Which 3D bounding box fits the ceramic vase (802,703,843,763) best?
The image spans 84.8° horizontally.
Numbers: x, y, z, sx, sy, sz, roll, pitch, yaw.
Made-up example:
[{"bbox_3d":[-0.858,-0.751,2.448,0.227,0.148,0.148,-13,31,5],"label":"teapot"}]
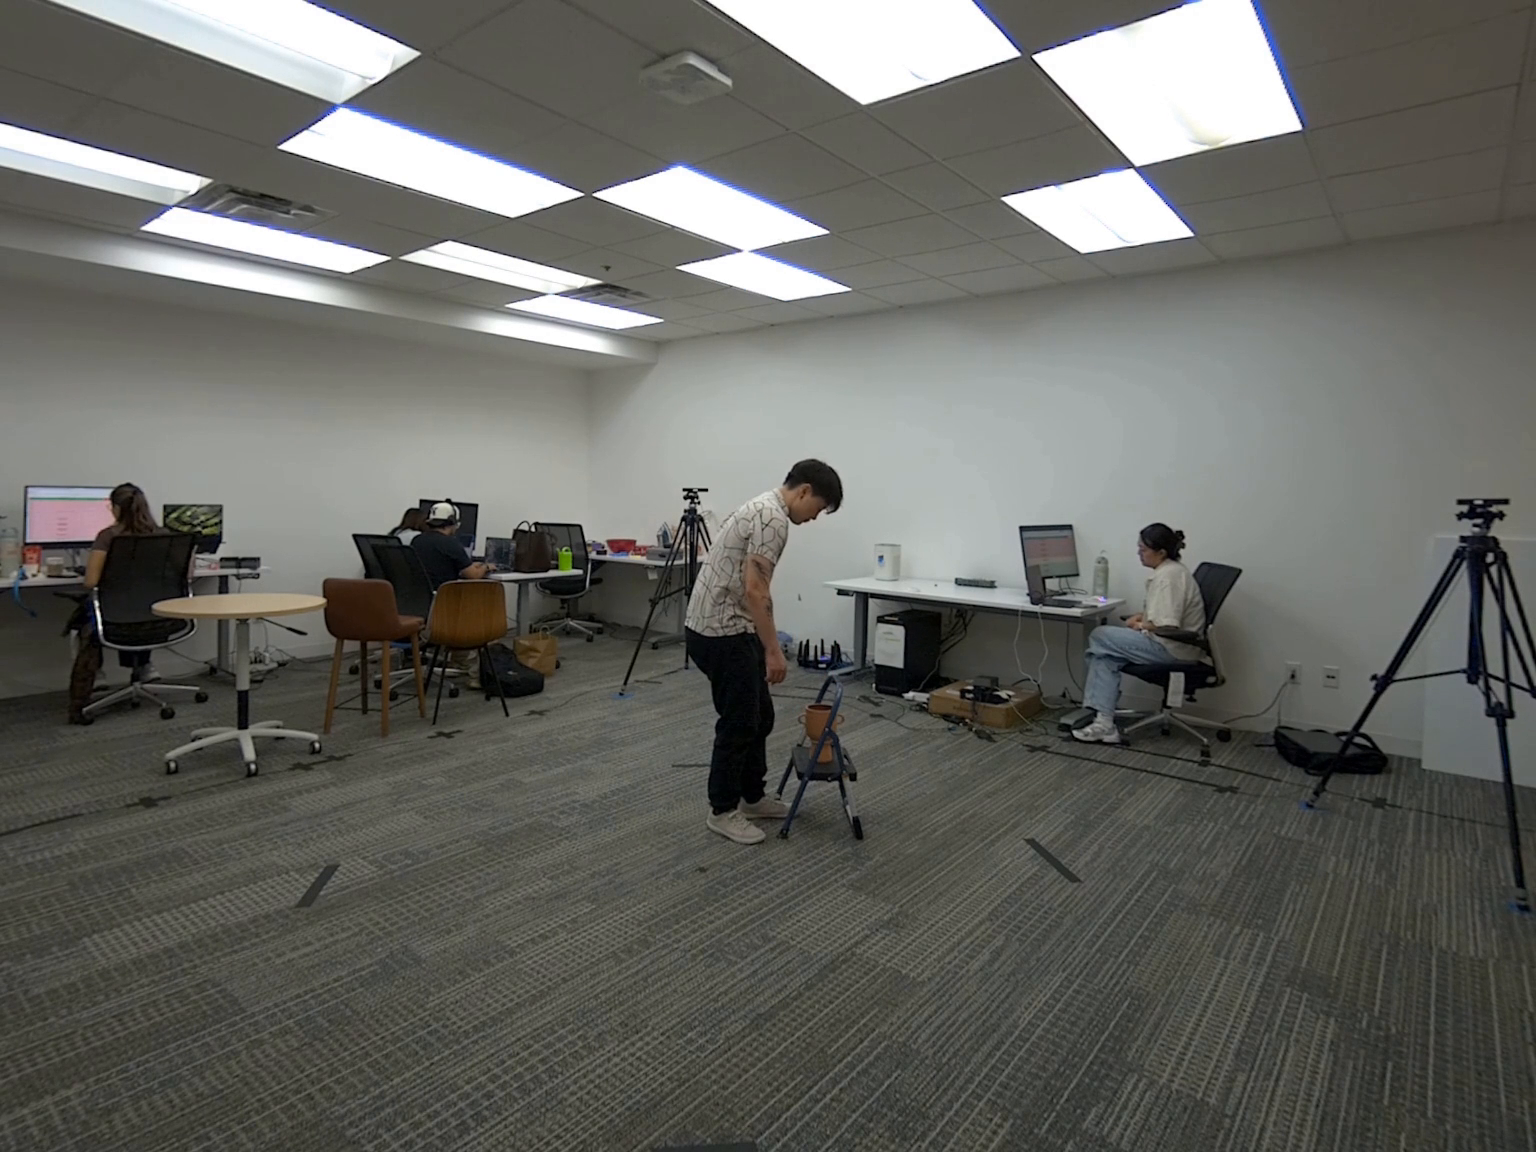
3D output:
[{"bbox_3d":[0.216,0.660,3.589,0.164,0.219,0.131,2,2,35],"label":"ceramic vase"}]
